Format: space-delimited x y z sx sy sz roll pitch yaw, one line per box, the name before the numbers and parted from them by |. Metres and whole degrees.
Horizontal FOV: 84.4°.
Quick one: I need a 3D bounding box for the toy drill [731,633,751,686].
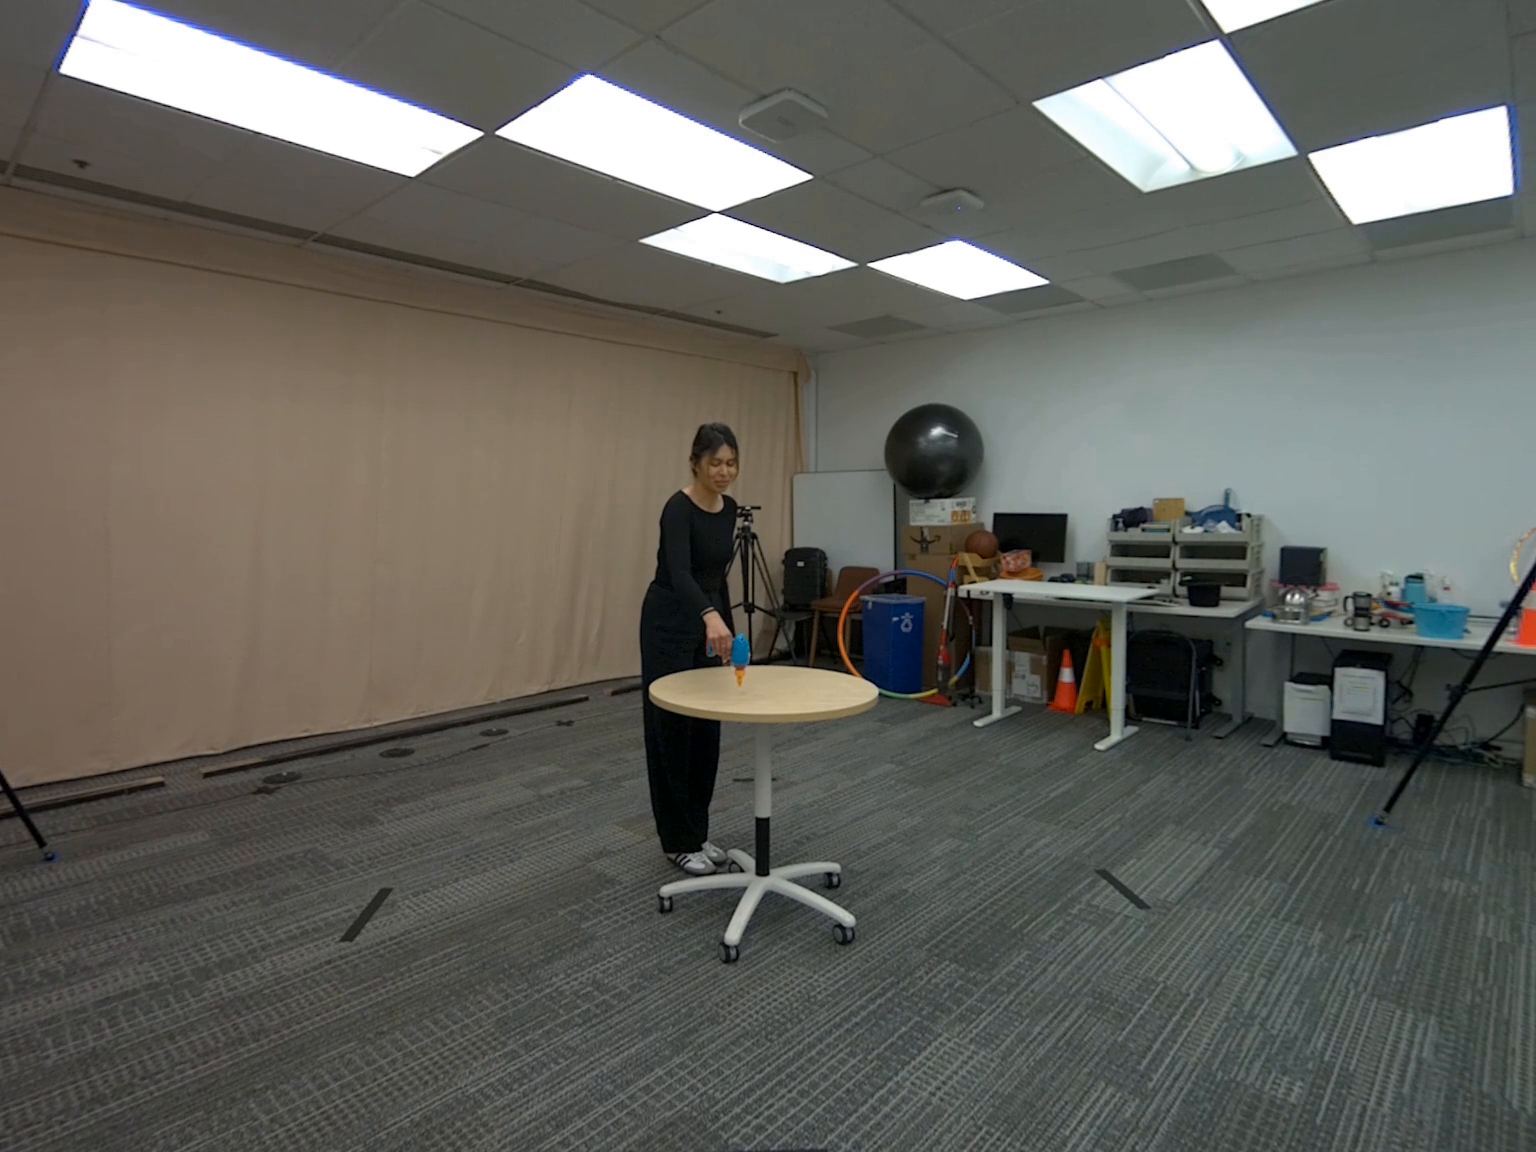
toy drill | -0.114 0.268 2.684 0.150 0.169 0.060 2 7 29
